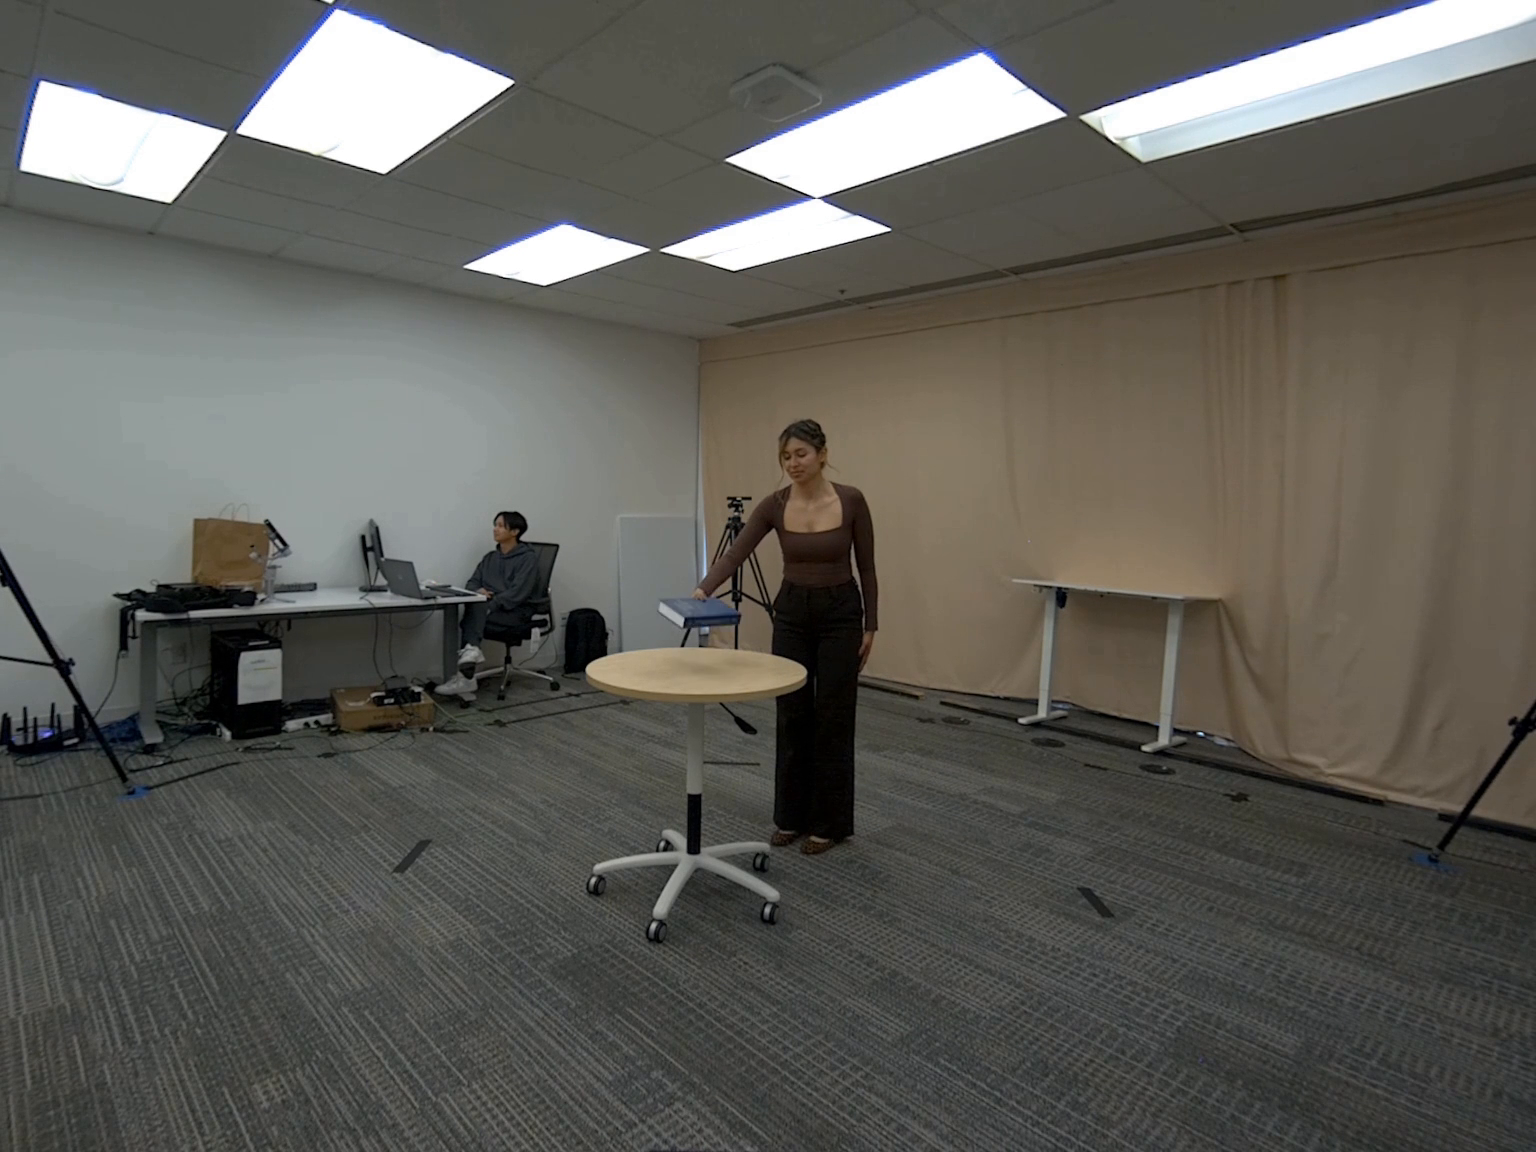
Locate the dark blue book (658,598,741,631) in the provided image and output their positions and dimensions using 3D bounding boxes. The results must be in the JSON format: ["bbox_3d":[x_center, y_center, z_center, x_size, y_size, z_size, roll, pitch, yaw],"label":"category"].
[{"bbox_3d":[-0.238,0.126,2.902,0.168,0.045,0.240,24,19,38],"label":"dark blue book"}]
